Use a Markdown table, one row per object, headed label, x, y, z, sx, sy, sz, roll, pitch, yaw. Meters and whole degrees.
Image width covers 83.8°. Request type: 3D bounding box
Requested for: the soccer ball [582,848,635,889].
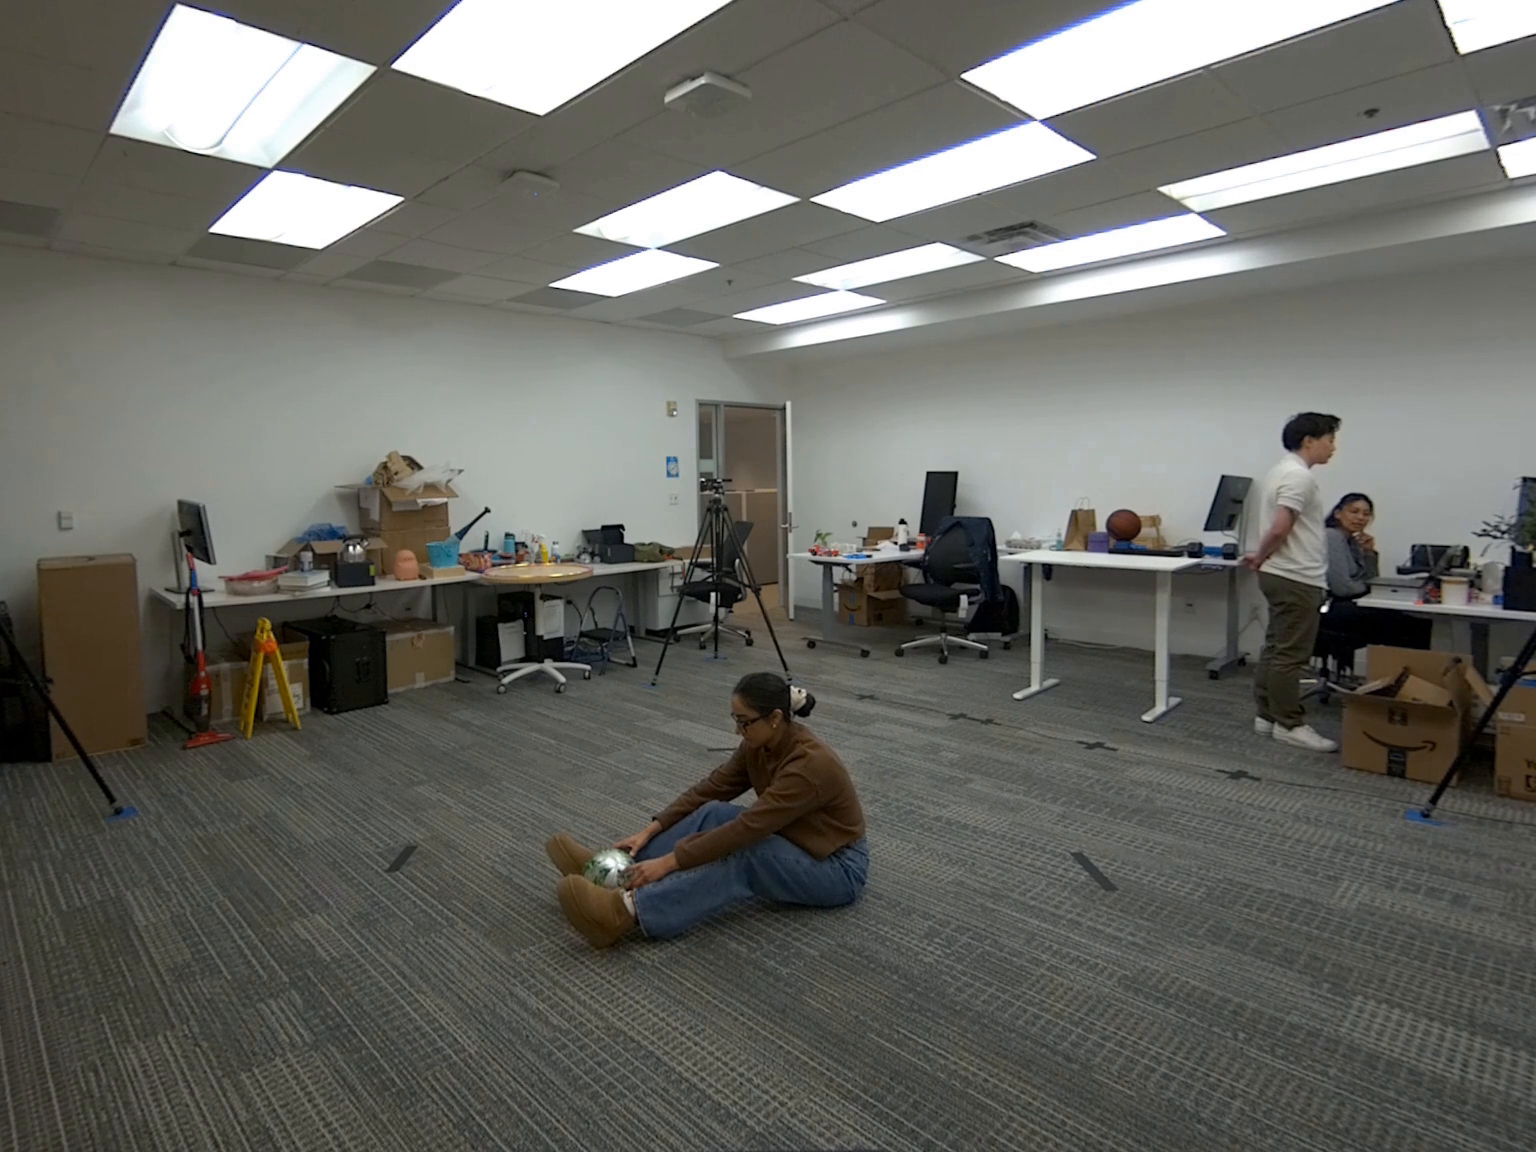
| label | x | y | z | sx | sy | sz | roll | pitch | yaw |
| --- | --- | --- | --- | --- | --- | --- | --- | --- | --- |
| soccer ball | -0.485 | 0.967 | 2.693 | 0.187 | 0.187 | 0.188 | -1 | 5 | -2 |
